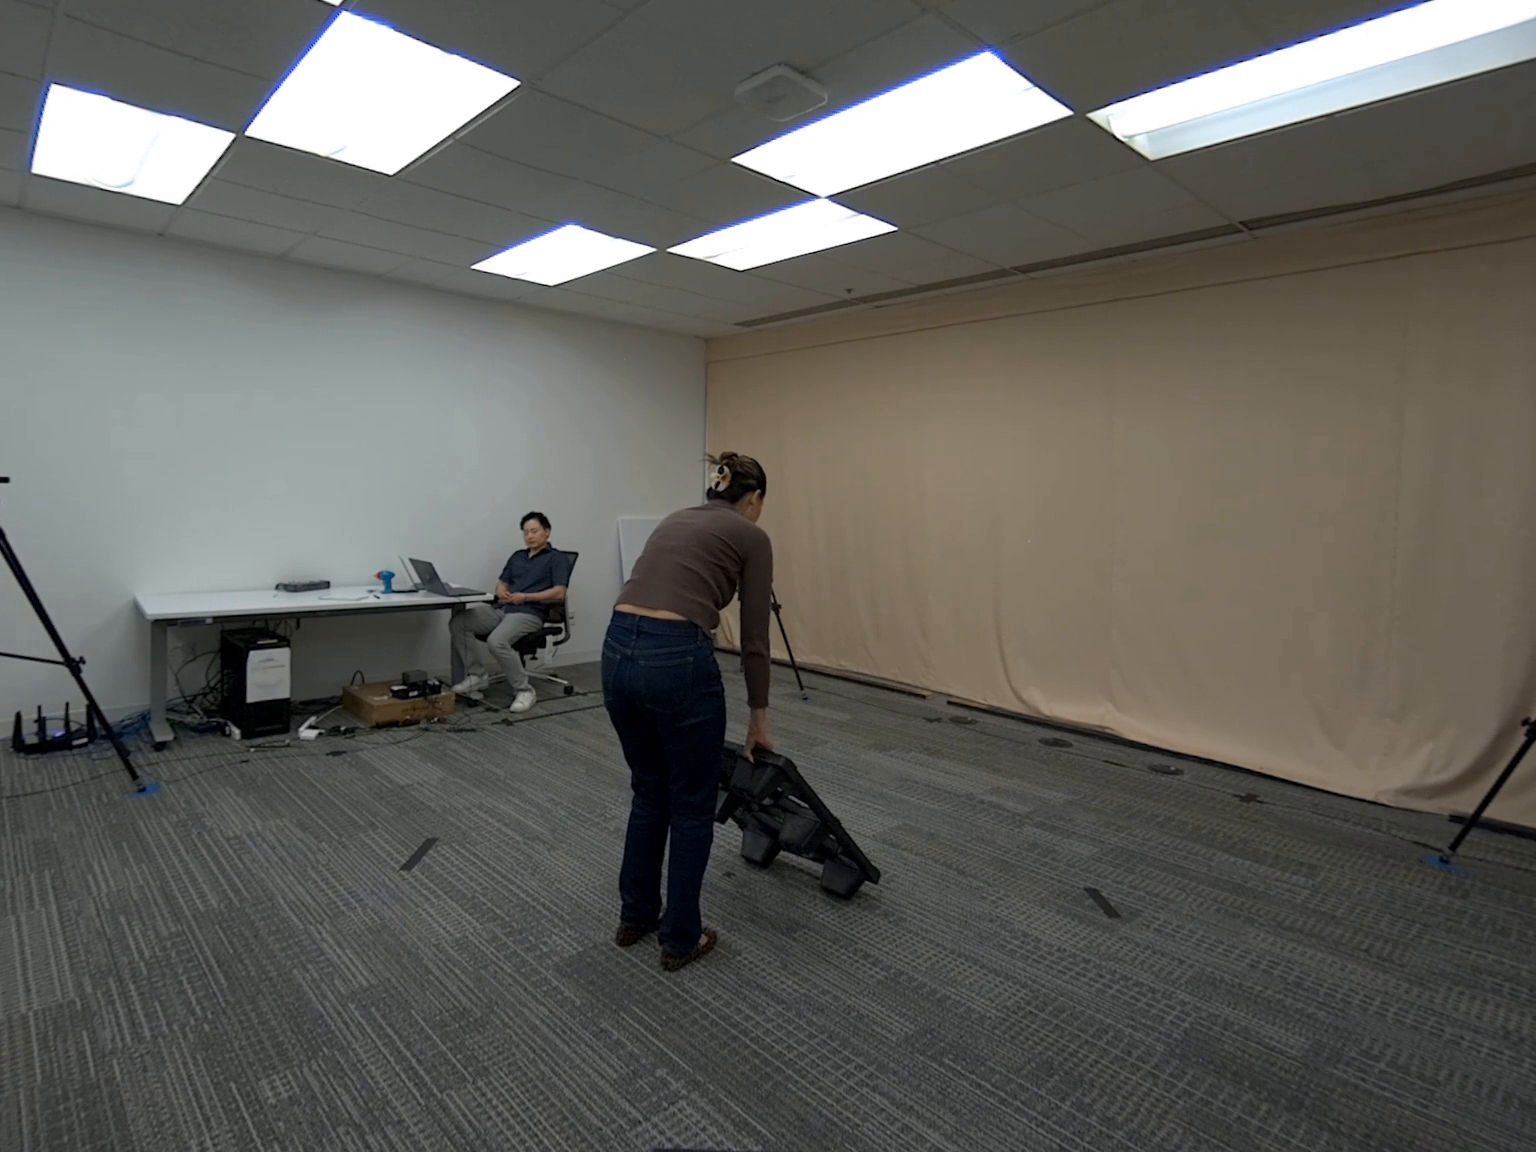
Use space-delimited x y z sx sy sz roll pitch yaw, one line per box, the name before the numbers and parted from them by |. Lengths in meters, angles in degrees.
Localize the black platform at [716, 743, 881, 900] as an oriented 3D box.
black platform | -0.039 0.816 2.895 0.620 0.144 0.782 5 -40 40
